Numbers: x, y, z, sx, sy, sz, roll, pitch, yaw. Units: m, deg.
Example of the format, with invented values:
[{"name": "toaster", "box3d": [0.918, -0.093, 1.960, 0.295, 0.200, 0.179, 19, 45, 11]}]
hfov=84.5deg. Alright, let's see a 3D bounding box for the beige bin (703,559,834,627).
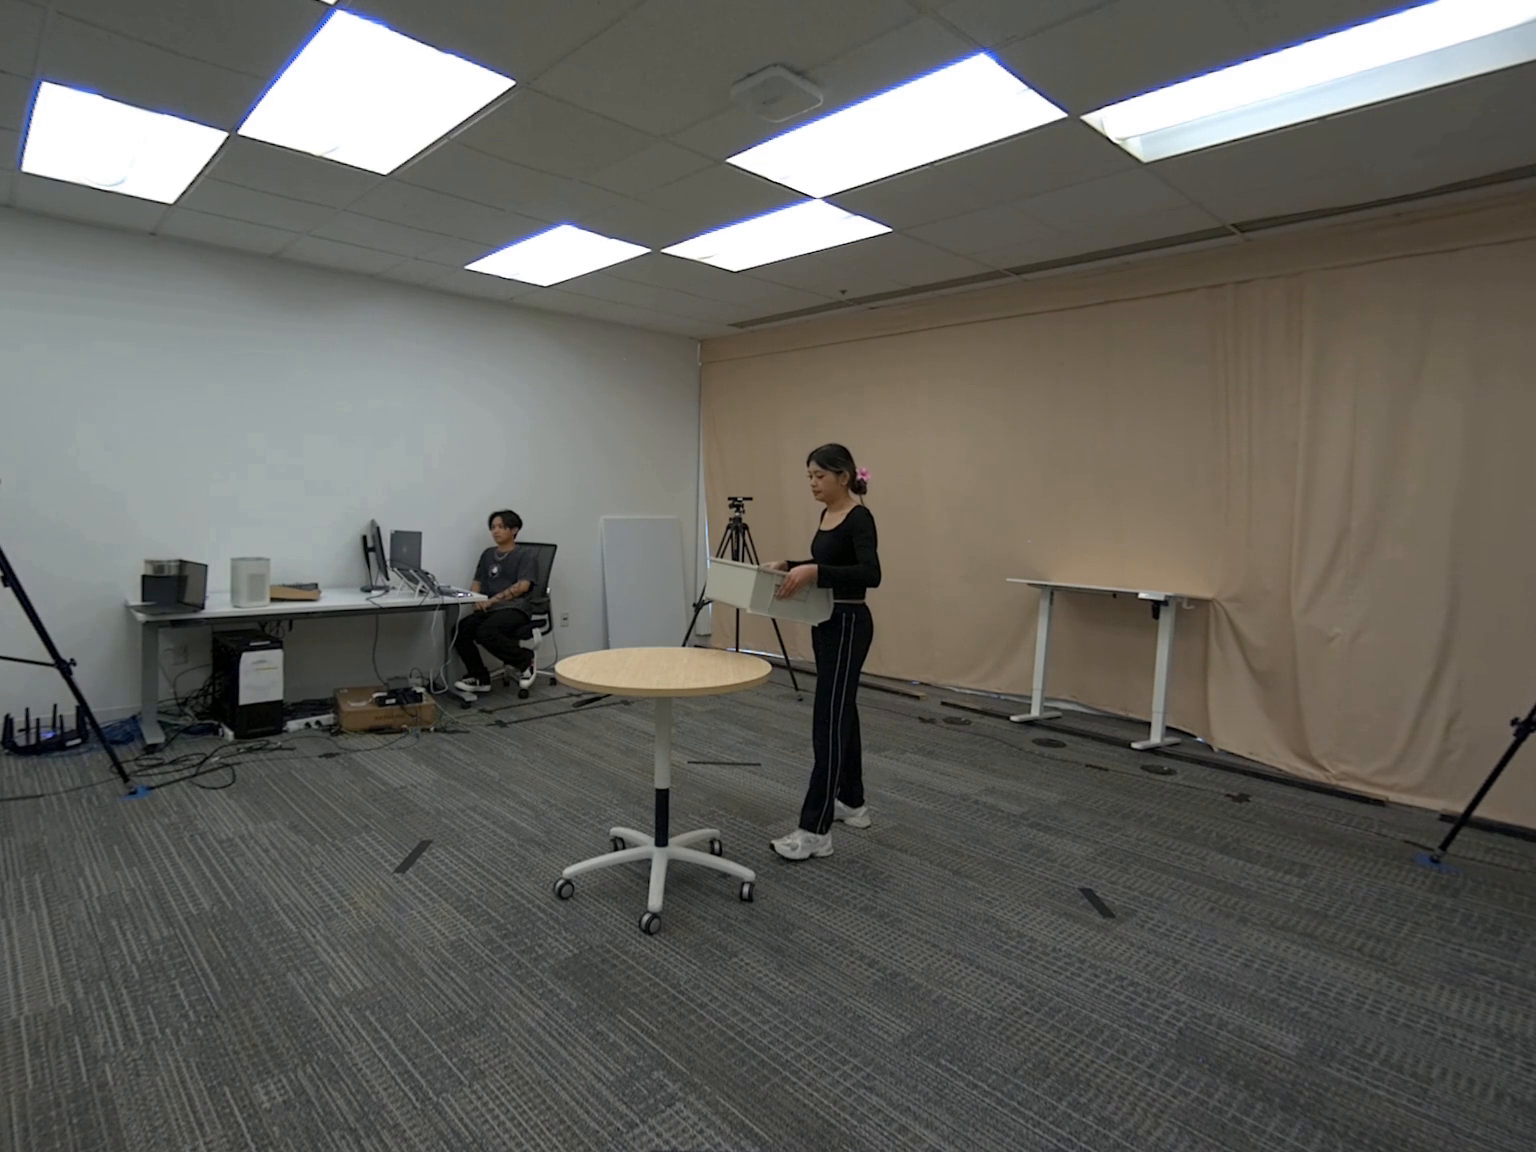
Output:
[{"name": "beige bin", "box3d": [-0.013, 0.064, 3.383, 0.369, 0.189, 0.432, 11, 1, -29]}]
